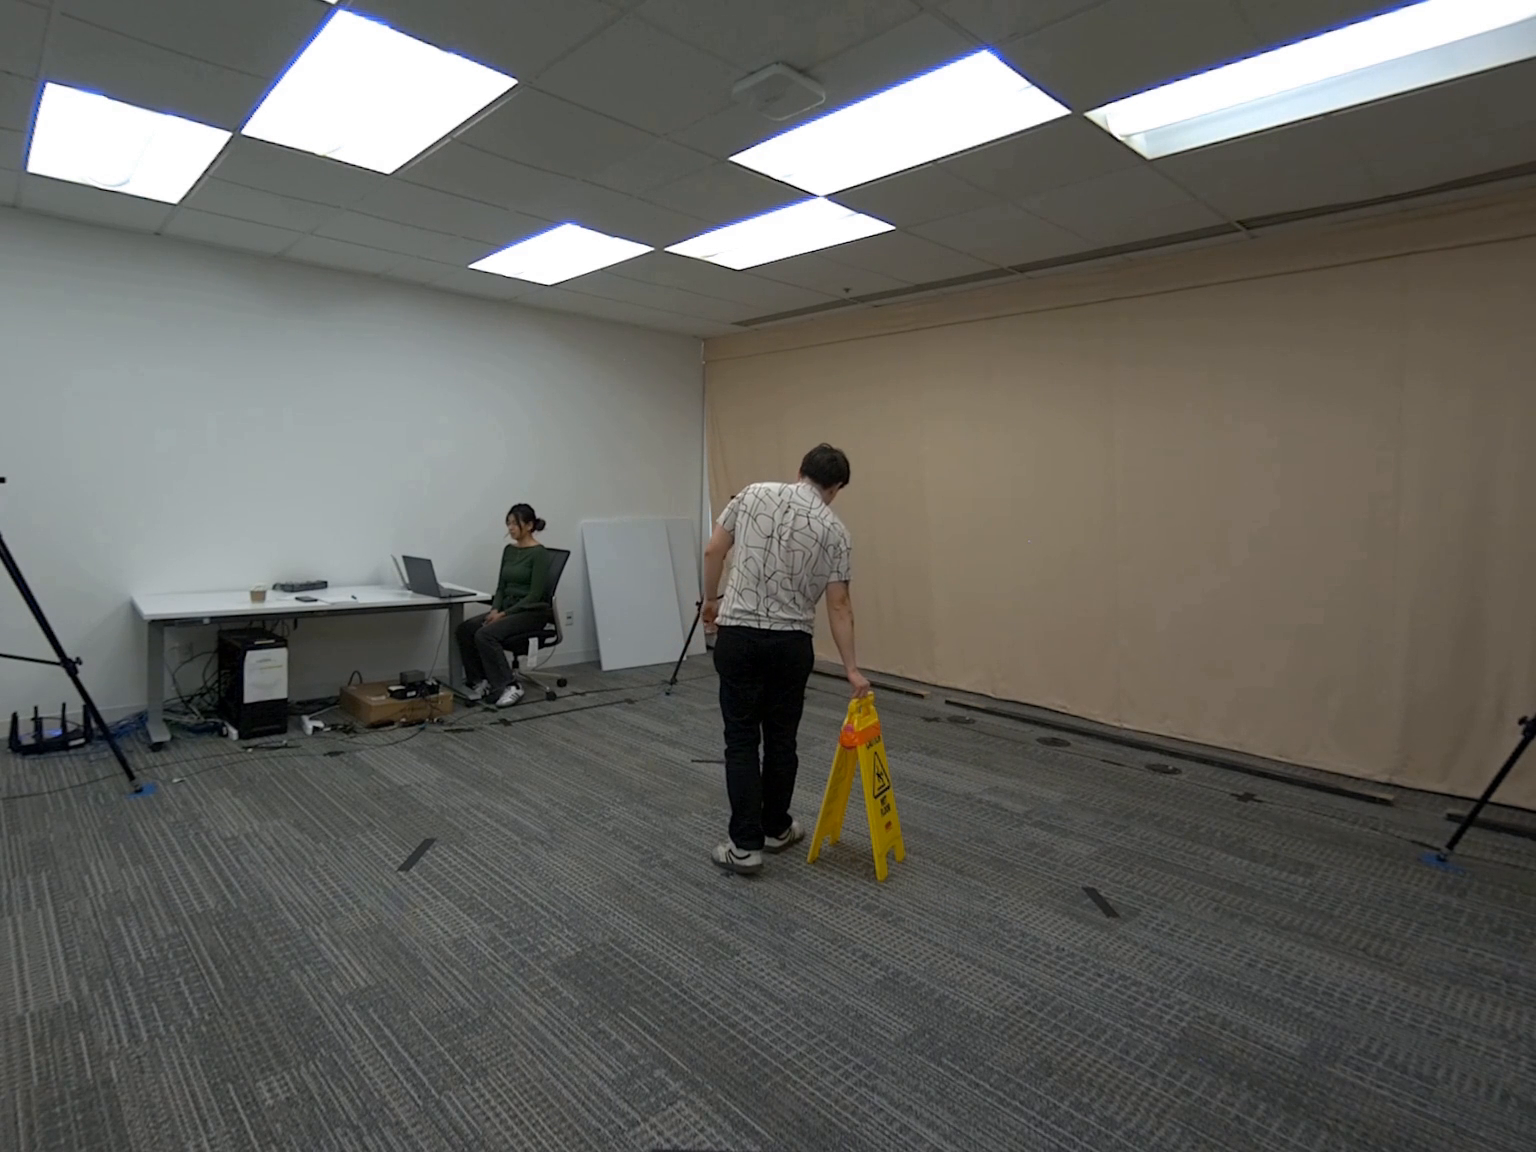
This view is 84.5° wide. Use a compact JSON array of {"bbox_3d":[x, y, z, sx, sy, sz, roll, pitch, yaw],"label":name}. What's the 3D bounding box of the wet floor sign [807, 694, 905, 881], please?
[{"bbox_3d":[0.340,0.775,3.244,0.296,0.645,0.276,2,2,29],"label":"wet floor sign"}]
